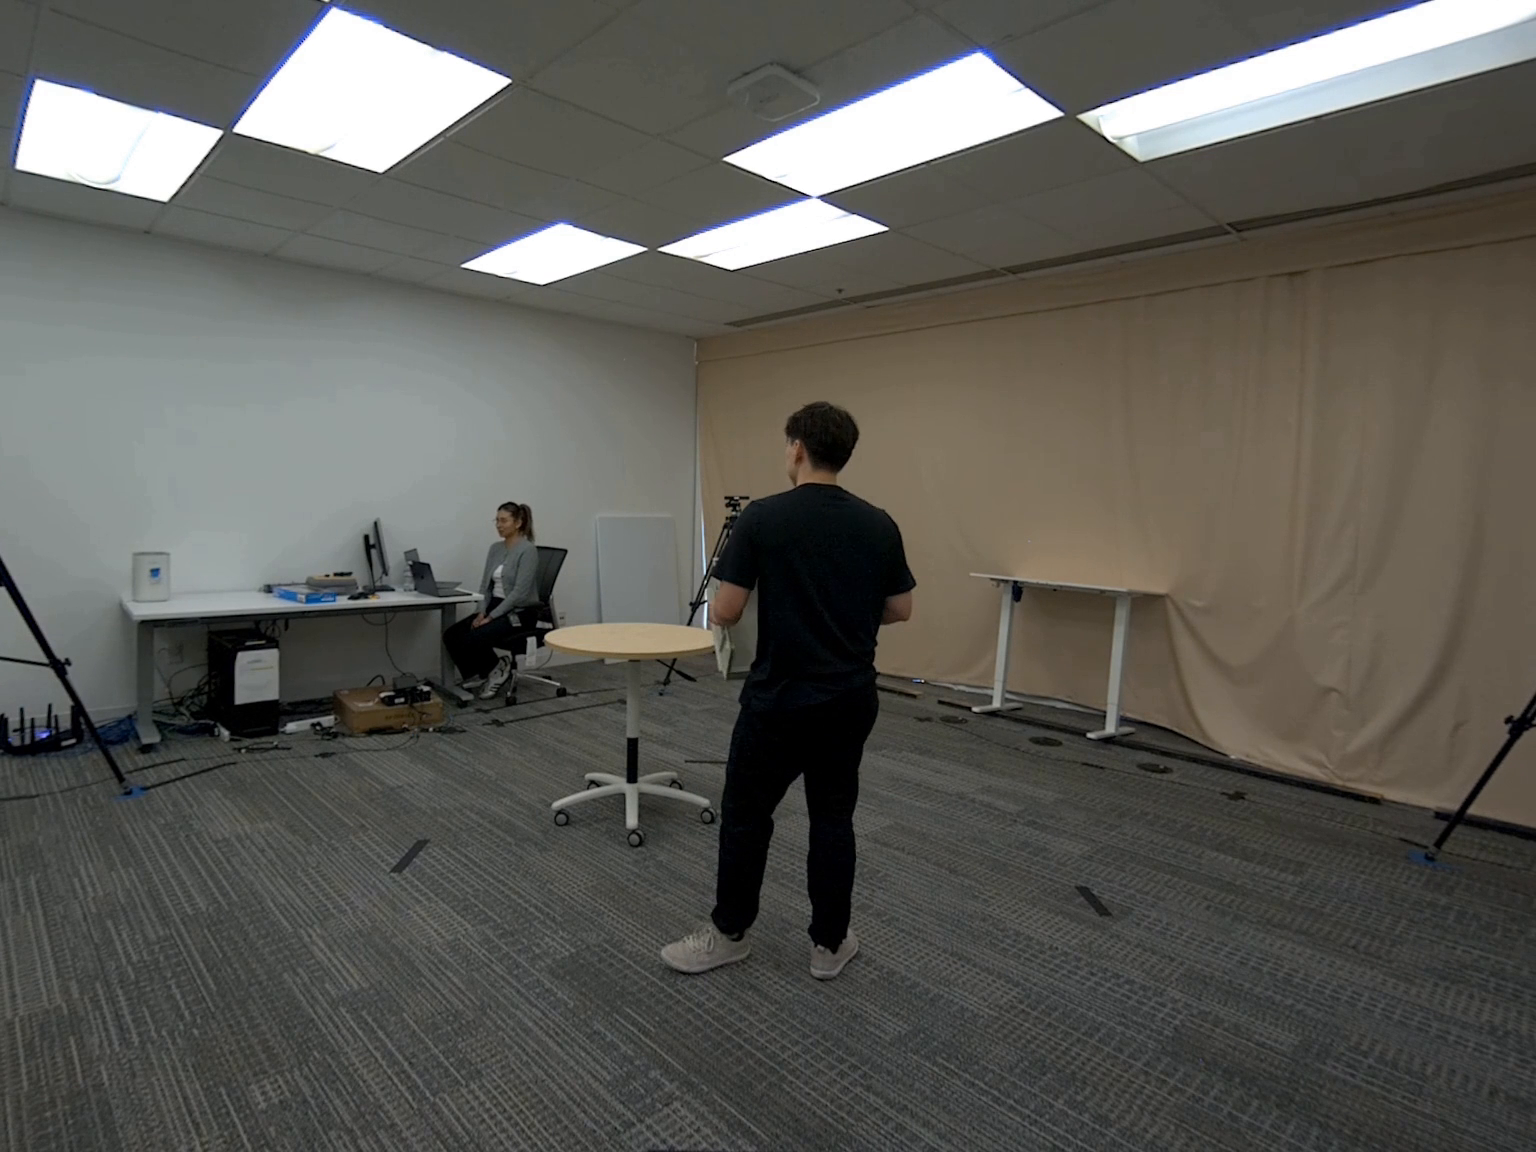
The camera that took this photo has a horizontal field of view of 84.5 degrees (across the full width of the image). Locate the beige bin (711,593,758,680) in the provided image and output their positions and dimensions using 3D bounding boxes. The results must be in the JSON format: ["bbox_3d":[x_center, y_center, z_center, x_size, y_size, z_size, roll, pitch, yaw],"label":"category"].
[{"bbox_3d":[0.026,0.146,2.777,0.417,0.387,0.186,-1,-35,-16],"label":"beige bin"}]
